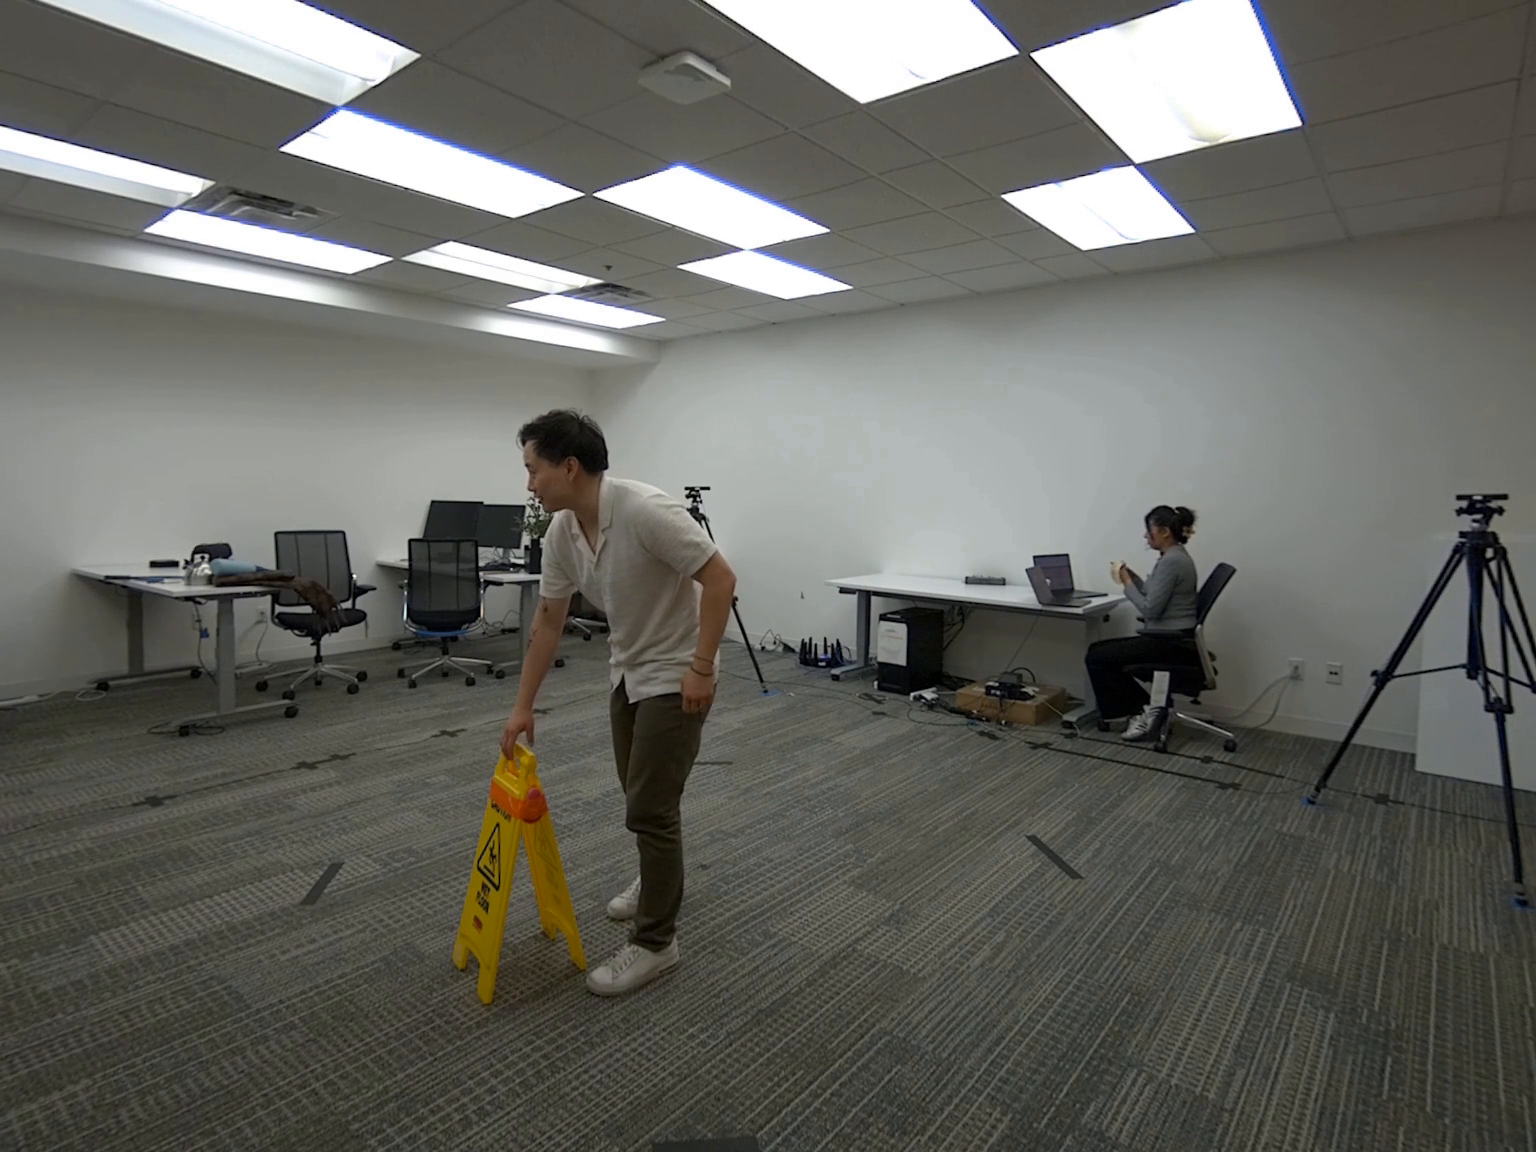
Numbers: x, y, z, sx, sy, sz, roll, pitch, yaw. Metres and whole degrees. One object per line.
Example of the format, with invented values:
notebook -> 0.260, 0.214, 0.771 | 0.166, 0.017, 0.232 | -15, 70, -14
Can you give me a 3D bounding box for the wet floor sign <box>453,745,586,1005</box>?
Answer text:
wet floor sign -> -0.725, 0.804, 2.450 | 0.281, 0.644, 0.292 | -2, 5, -37
